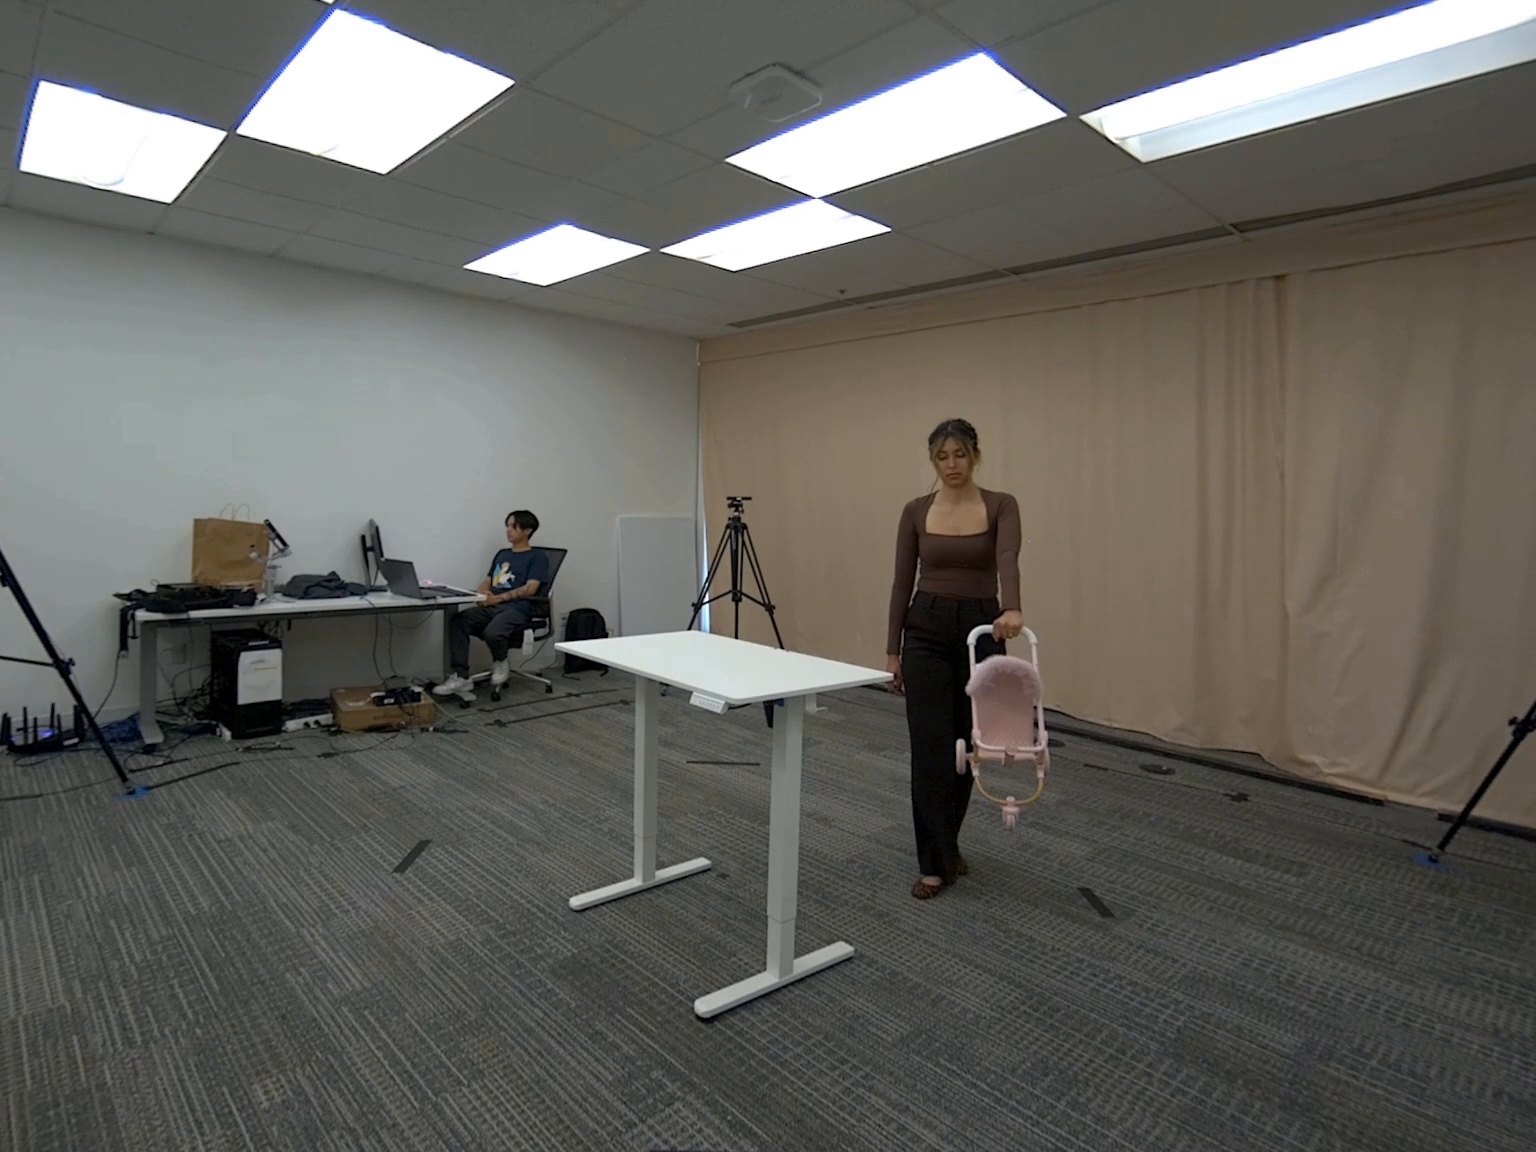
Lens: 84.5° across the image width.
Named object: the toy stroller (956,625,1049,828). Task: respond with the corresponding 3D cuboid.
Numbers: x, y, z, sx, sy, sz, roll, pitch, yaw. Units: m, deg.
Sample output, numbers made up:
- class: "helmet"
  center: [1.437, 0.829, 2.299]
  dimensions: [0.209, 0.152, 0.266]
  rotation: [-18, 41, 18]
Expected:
- class: "toy stroller"
  center: [0.710, 0.454, 2.550]
  dimensions: [0.285, 0.530, 0.340]
  rotation: [2, 12, 13]
